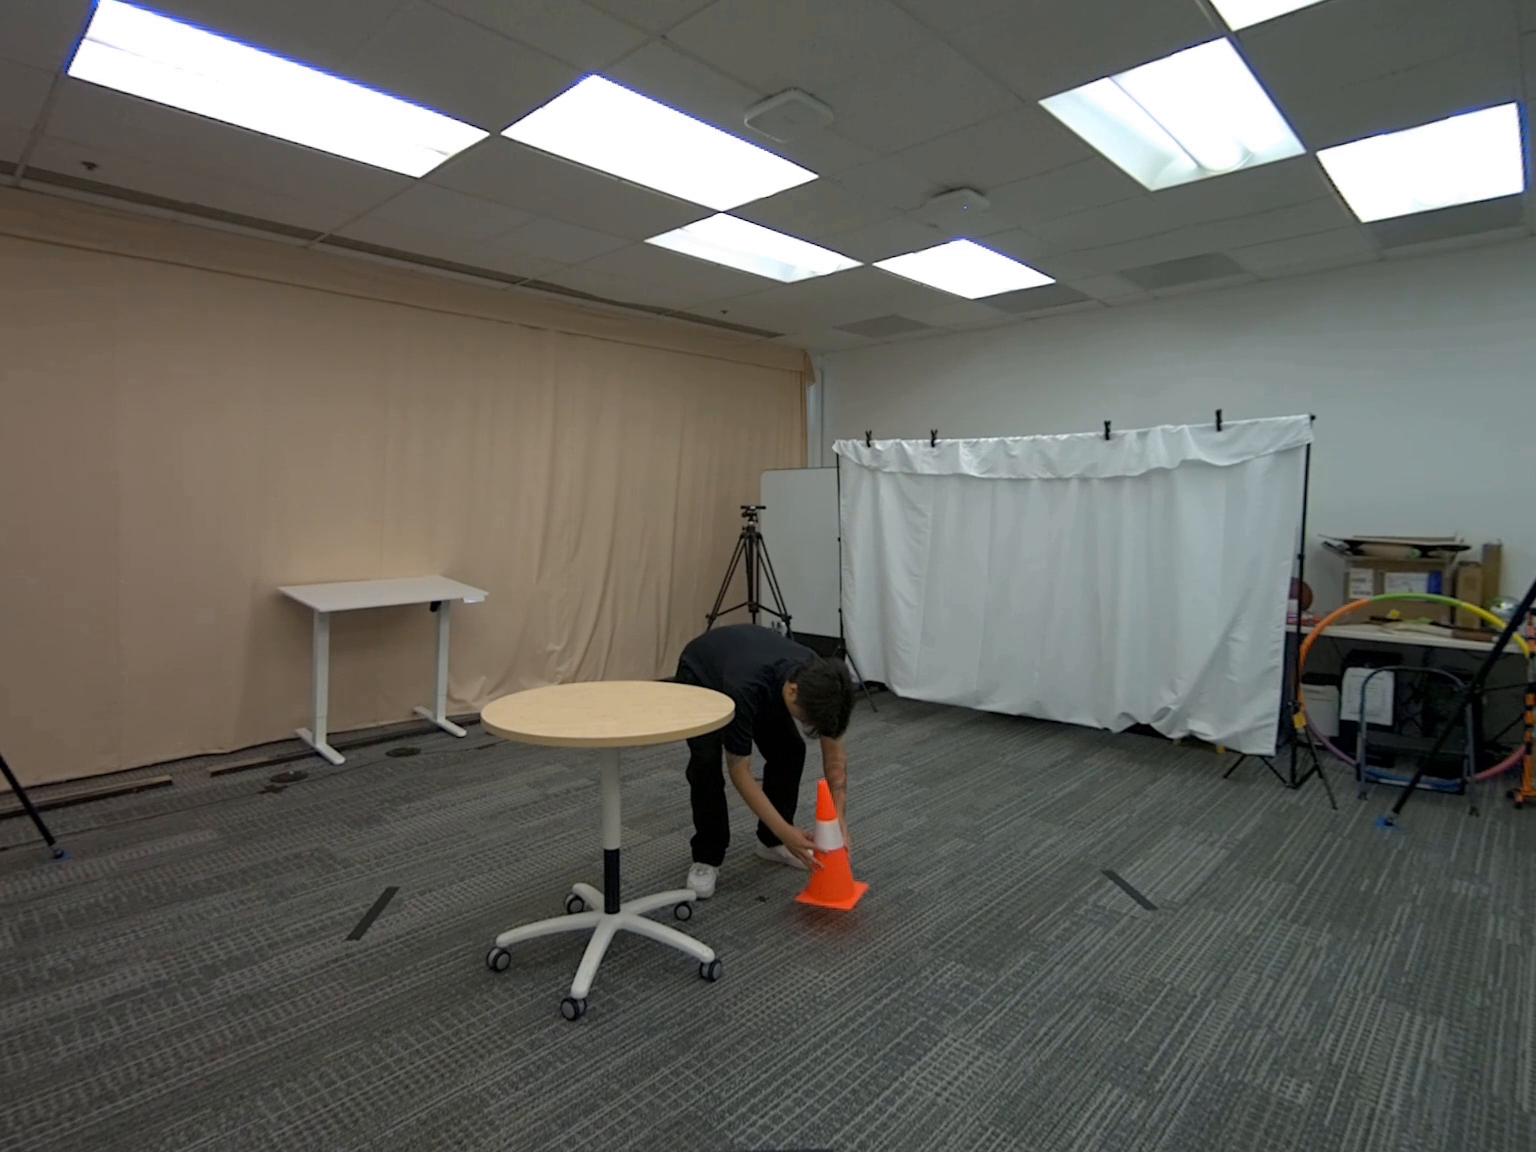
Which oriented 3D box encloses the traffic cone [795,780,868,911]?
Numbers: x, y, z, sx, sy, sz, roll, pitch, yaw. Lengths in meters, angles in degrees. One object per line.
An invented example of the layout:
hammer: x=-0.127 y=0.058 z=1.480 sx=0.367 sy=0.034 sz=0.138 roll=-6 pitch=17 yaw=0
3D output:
traffic cone: x=0.204 y=0.878 z=2.834 sx=0.210 sy=0.384 sz=0.198 roll=-5 pitch=-1 yaw=29
